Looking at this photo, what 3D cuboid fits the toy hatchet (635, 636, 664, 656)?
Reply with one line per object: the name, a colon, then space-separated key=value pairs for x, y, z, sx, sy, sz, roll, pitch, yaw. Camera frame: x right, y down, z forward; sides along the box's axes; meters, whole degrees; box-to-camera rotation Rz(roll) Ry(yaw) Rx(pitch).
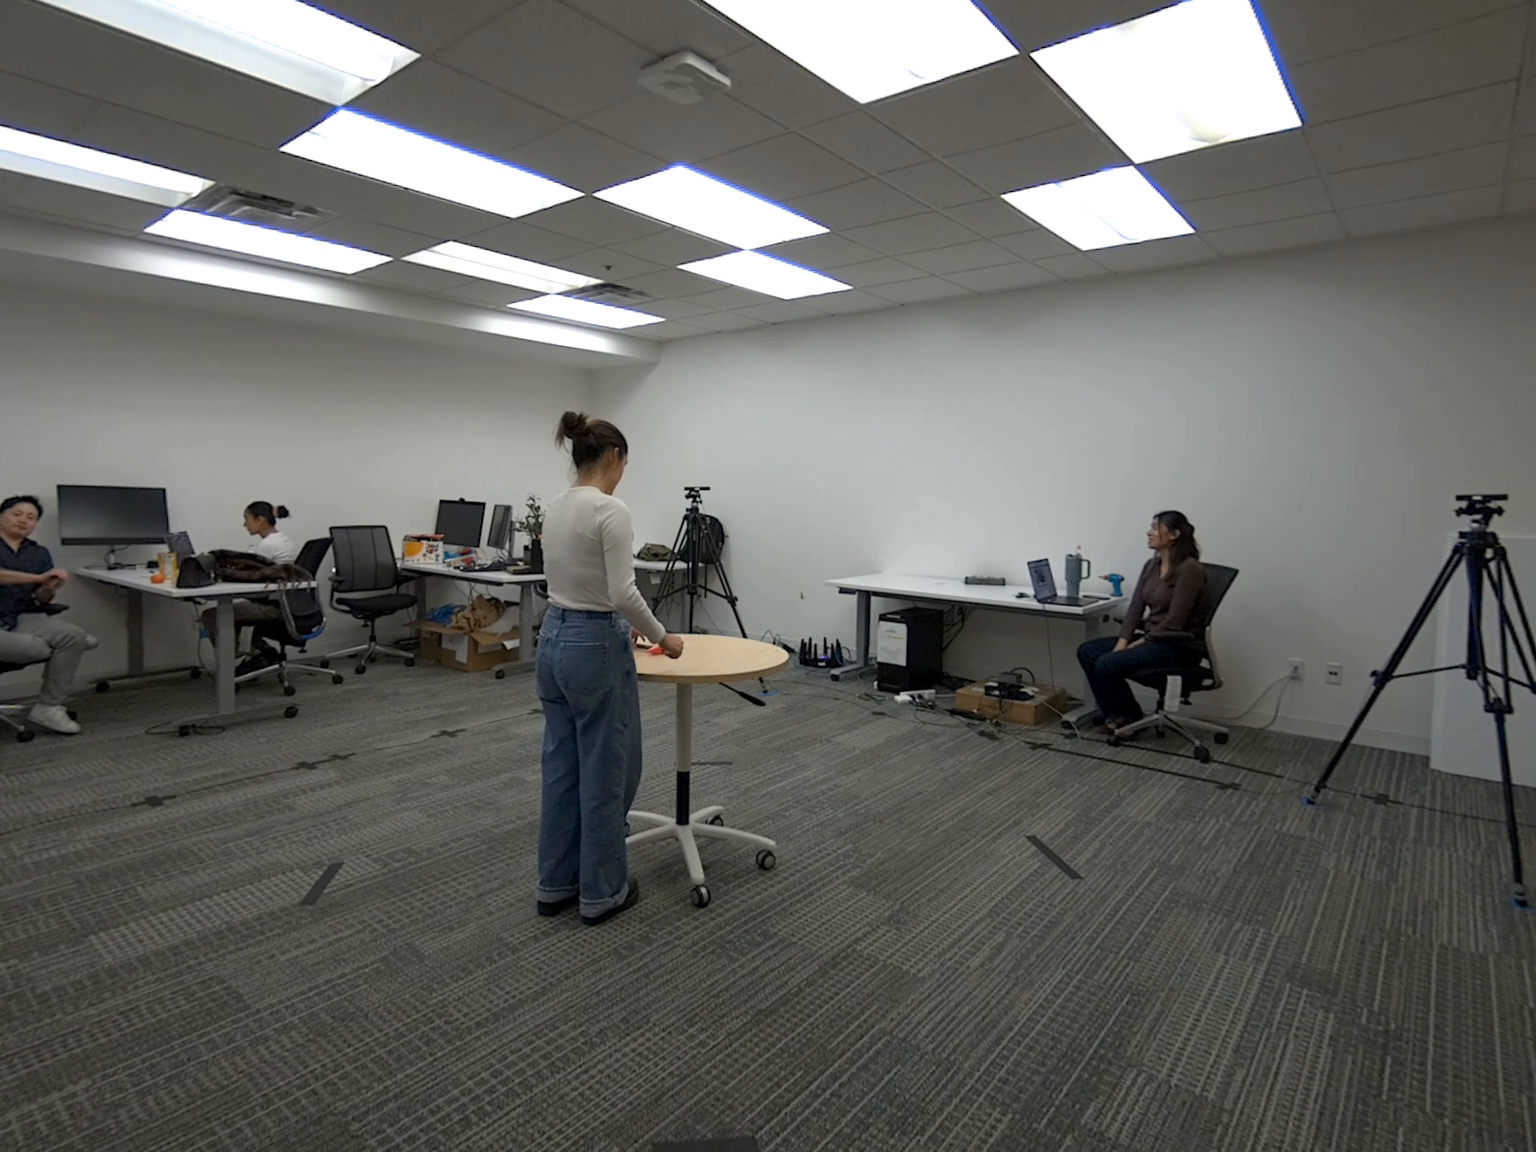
toy hatchet: x=-0.468 y=0.256 z=3.198 sx=0.128 sy=0.029 sz=0.278 roll=-7 pitch=8 yaw=-31
